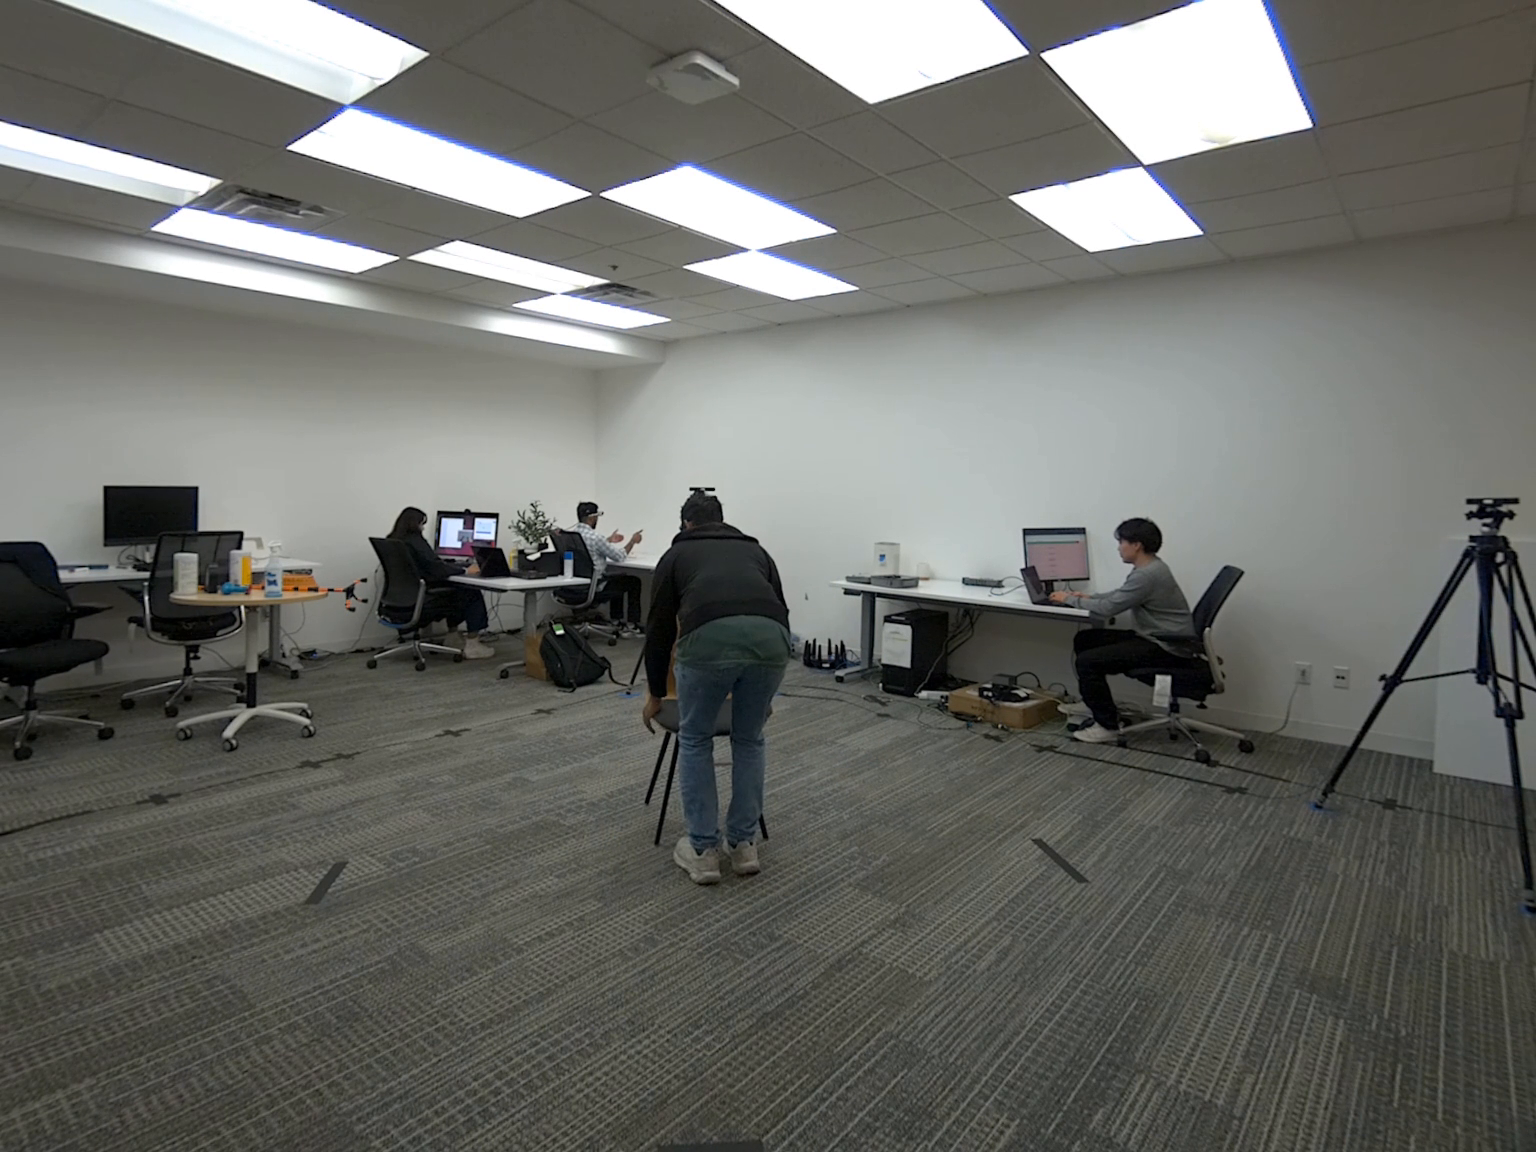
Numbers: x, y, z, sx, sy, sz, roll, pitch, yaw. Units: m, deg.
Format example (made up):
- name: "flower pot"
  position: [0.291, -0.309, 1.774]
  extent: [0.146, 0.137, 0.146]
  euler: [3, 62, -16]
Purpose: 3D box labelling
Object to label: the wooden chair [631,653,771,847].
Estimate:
- name: "wooden chair"
  position: [-0.273, 0.590, 3.524]
  extent: [0.472, 0.879, 0.529]
  euler: [1, -1, -12]
